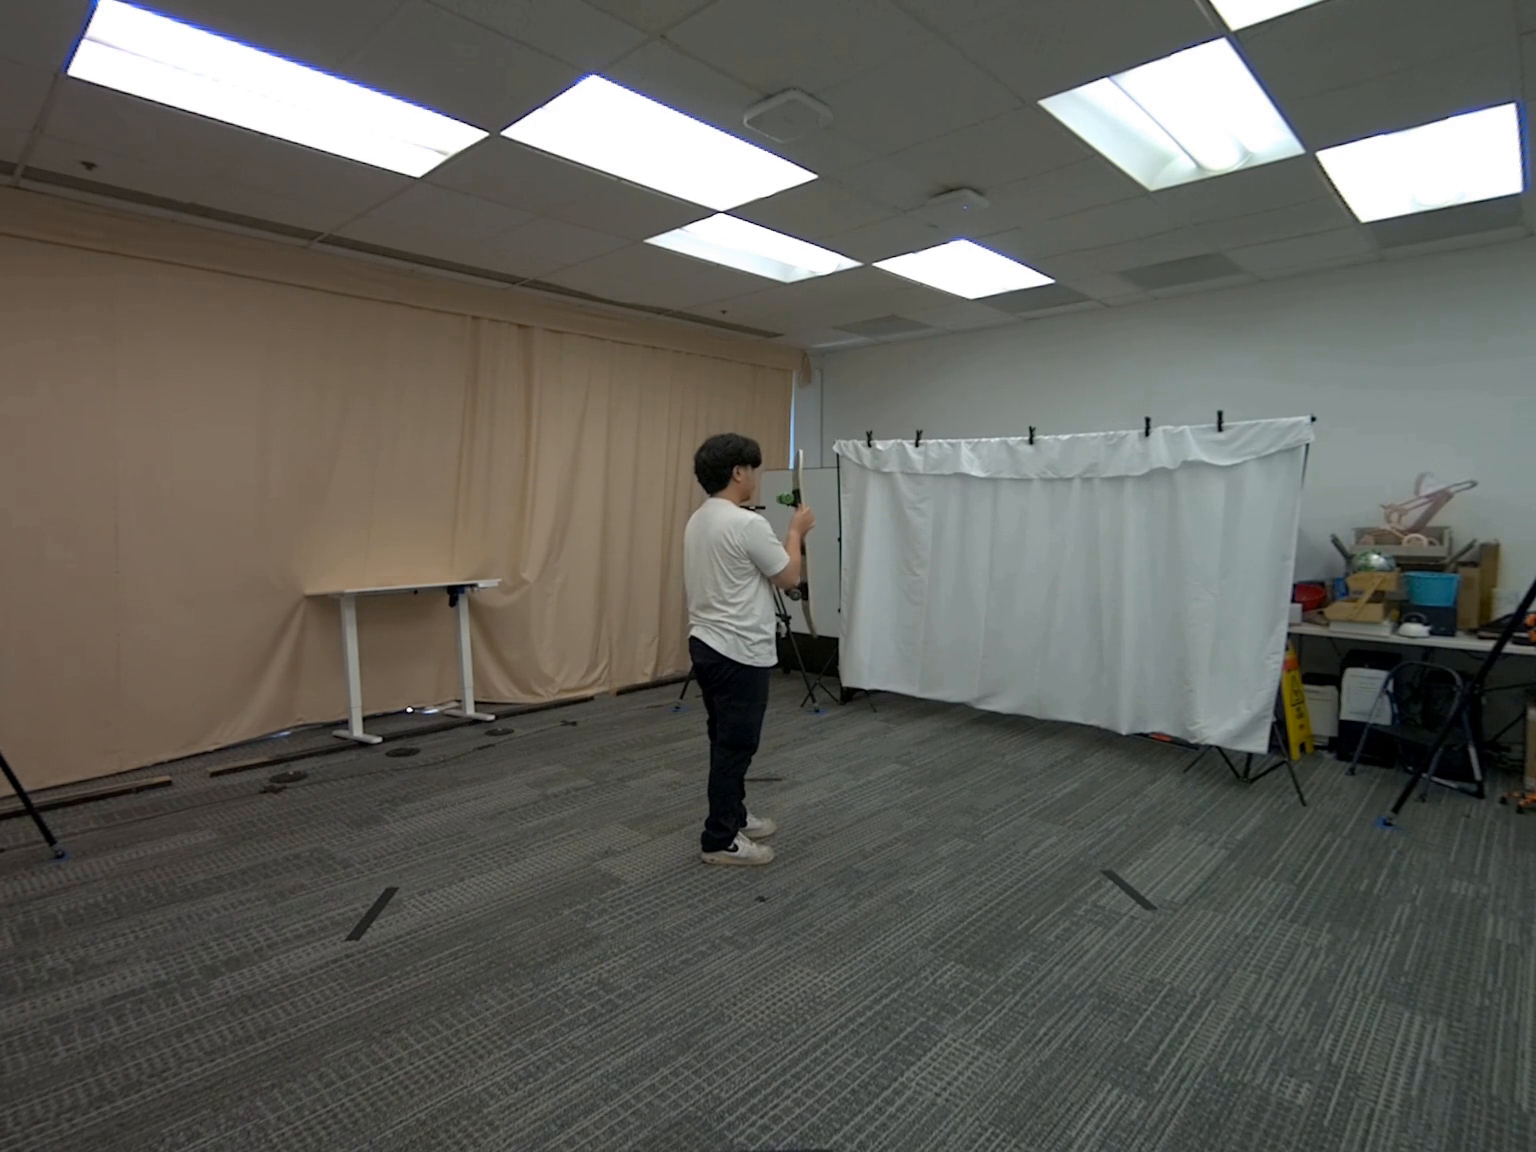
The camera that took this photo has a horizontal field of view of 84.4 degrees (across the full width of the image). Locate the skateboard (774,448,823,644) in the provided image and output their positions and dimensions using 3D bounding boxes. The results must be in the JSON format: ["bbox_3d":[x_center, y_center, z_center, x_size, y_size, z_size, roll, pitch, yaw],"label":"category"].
[{"bbox_3d":[0.123,-0.130,3.525,0.110,0.783,0.195,-5,4,-5],"label":"skateboard"}]
